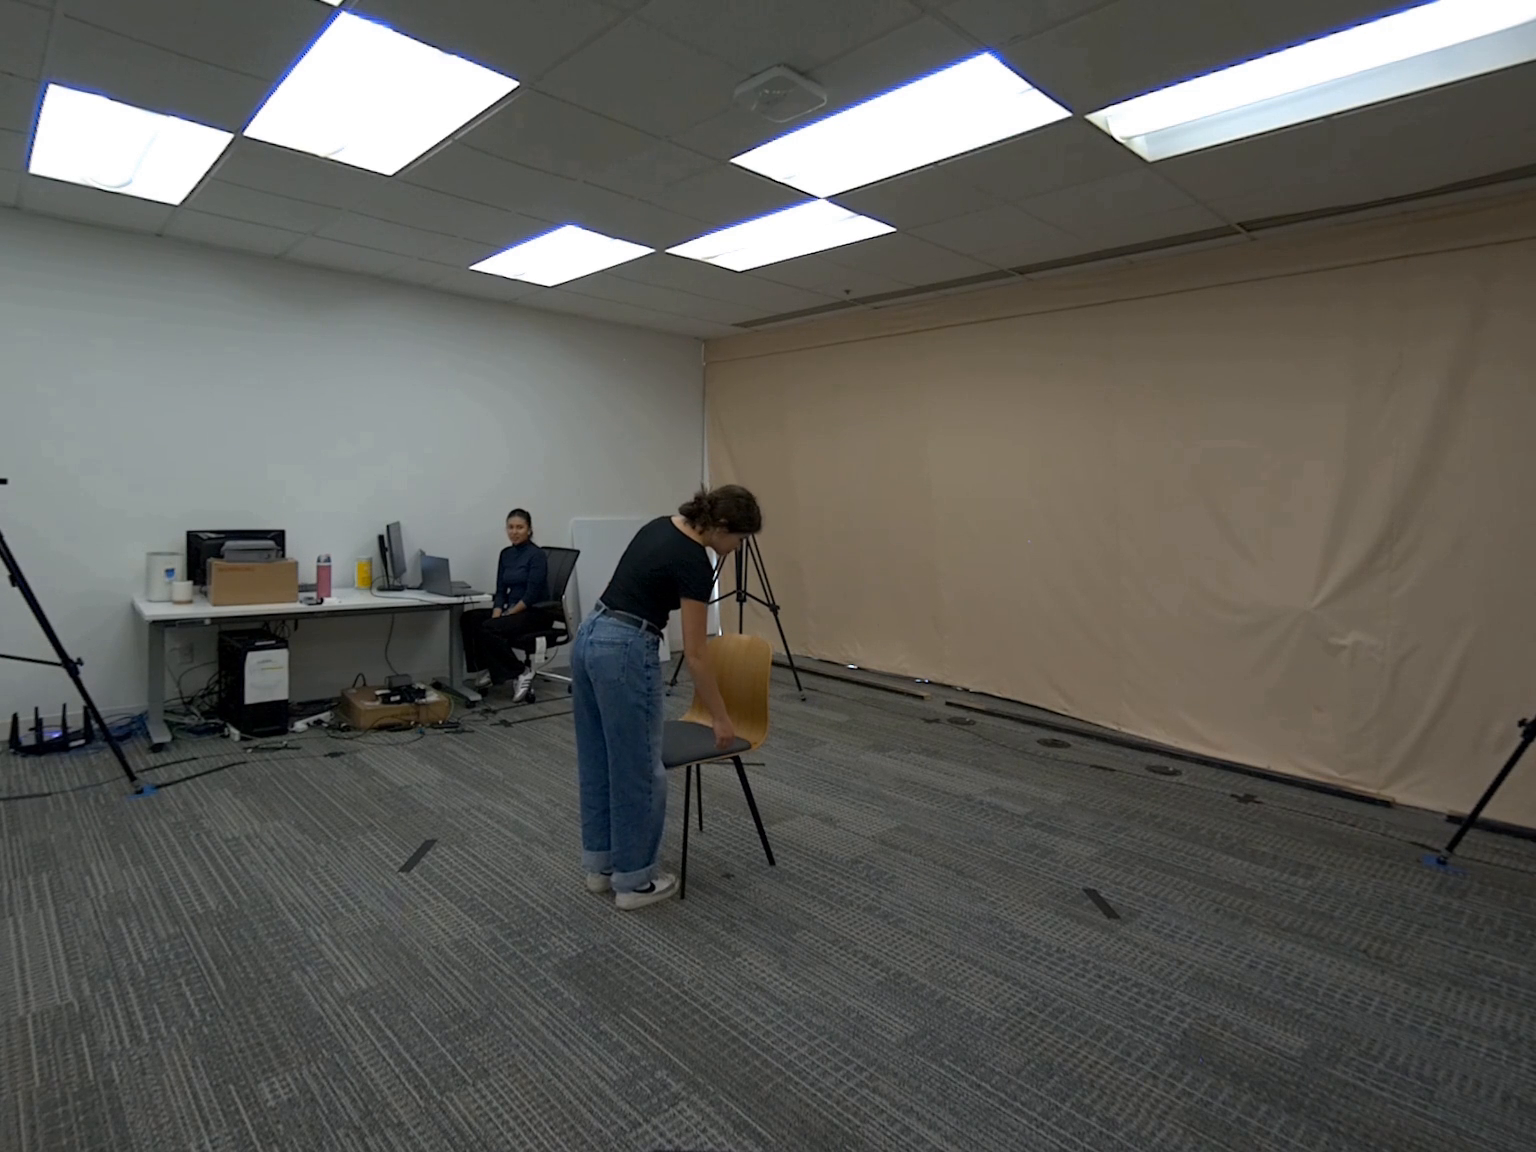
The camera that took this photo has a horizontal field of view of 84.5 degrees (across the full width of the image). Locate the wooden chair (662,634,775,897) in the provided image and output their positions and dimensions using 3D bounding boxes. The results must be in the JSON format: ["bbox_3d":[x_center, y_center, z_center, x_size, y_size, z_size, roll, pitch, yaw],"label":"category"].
[{"bbox_3d":[-0.286,0.671,3.190,0.510,0.877,0.490,4,1,-43],"label":"wooden chair"}]
